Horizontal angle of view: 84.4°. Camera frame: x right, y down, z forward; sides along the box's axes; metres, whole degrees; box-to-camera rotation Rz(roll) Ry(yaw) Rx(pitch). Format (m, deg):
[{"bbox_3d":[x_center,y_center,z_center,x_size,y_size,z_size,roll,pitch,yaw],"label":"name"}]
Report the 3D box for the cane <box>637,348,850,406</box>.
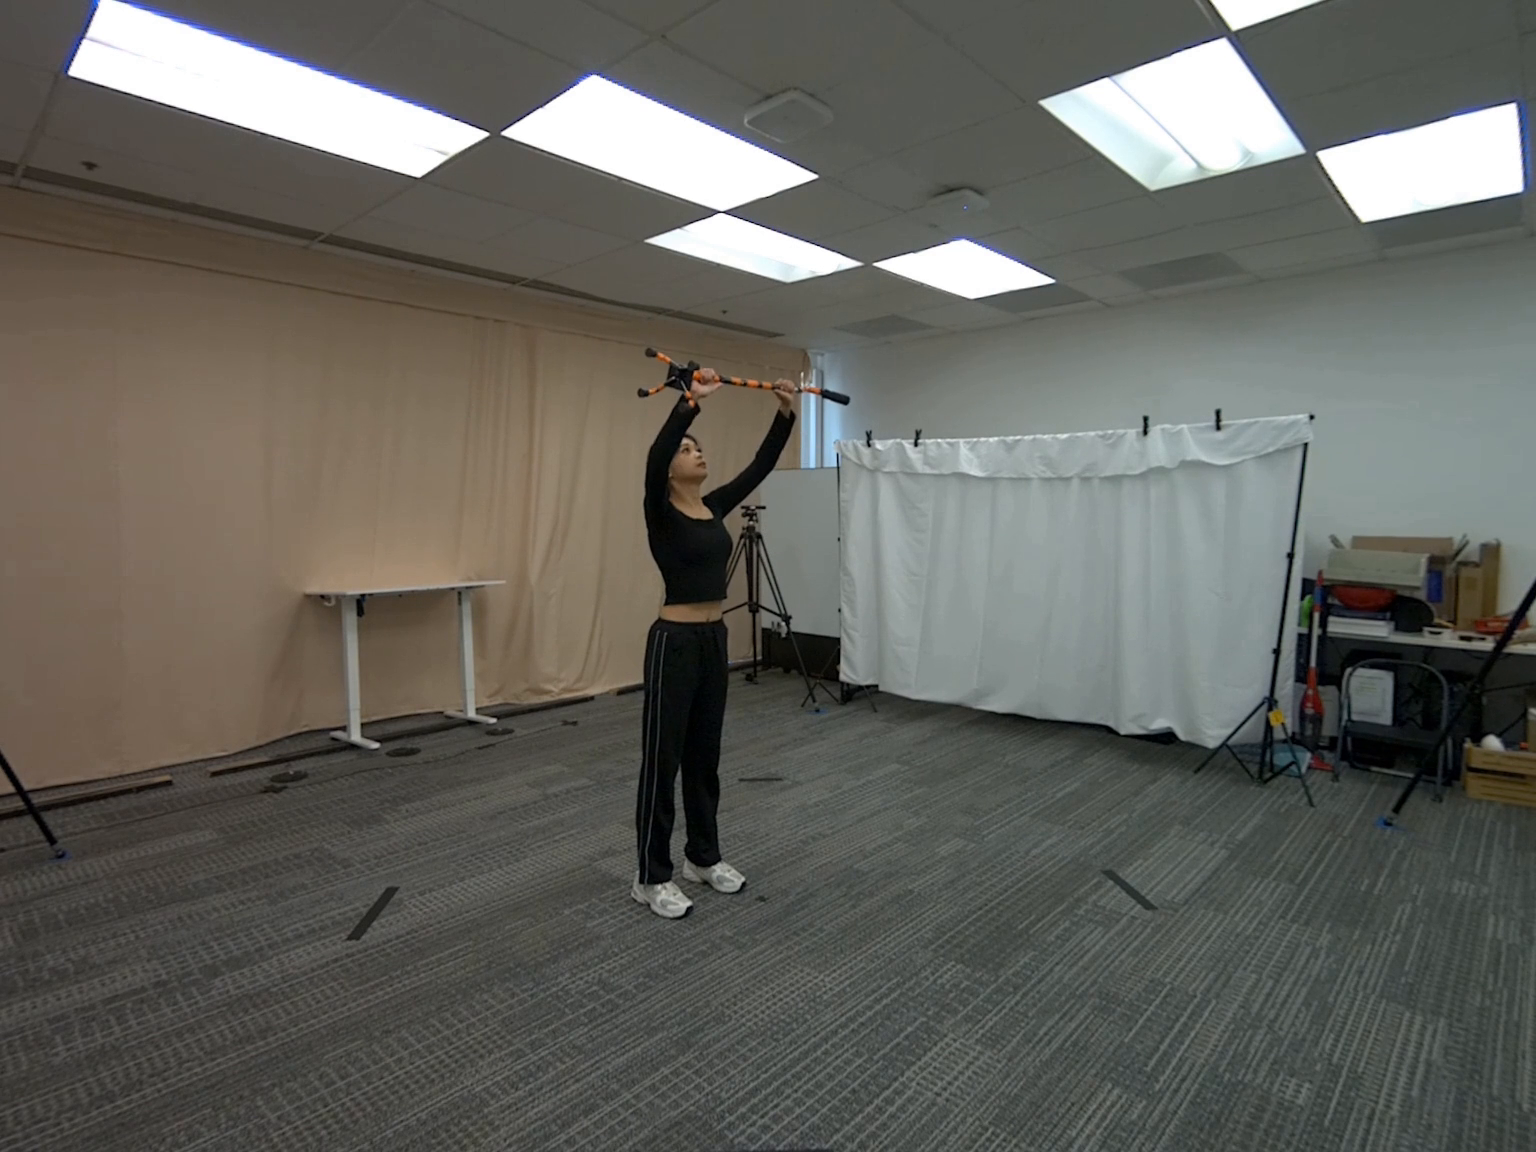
[{"bbox_3d":[-0.034,-0.627,2.839,0.214,0.150,0.882,25,21,33],"label":"cane"}]
